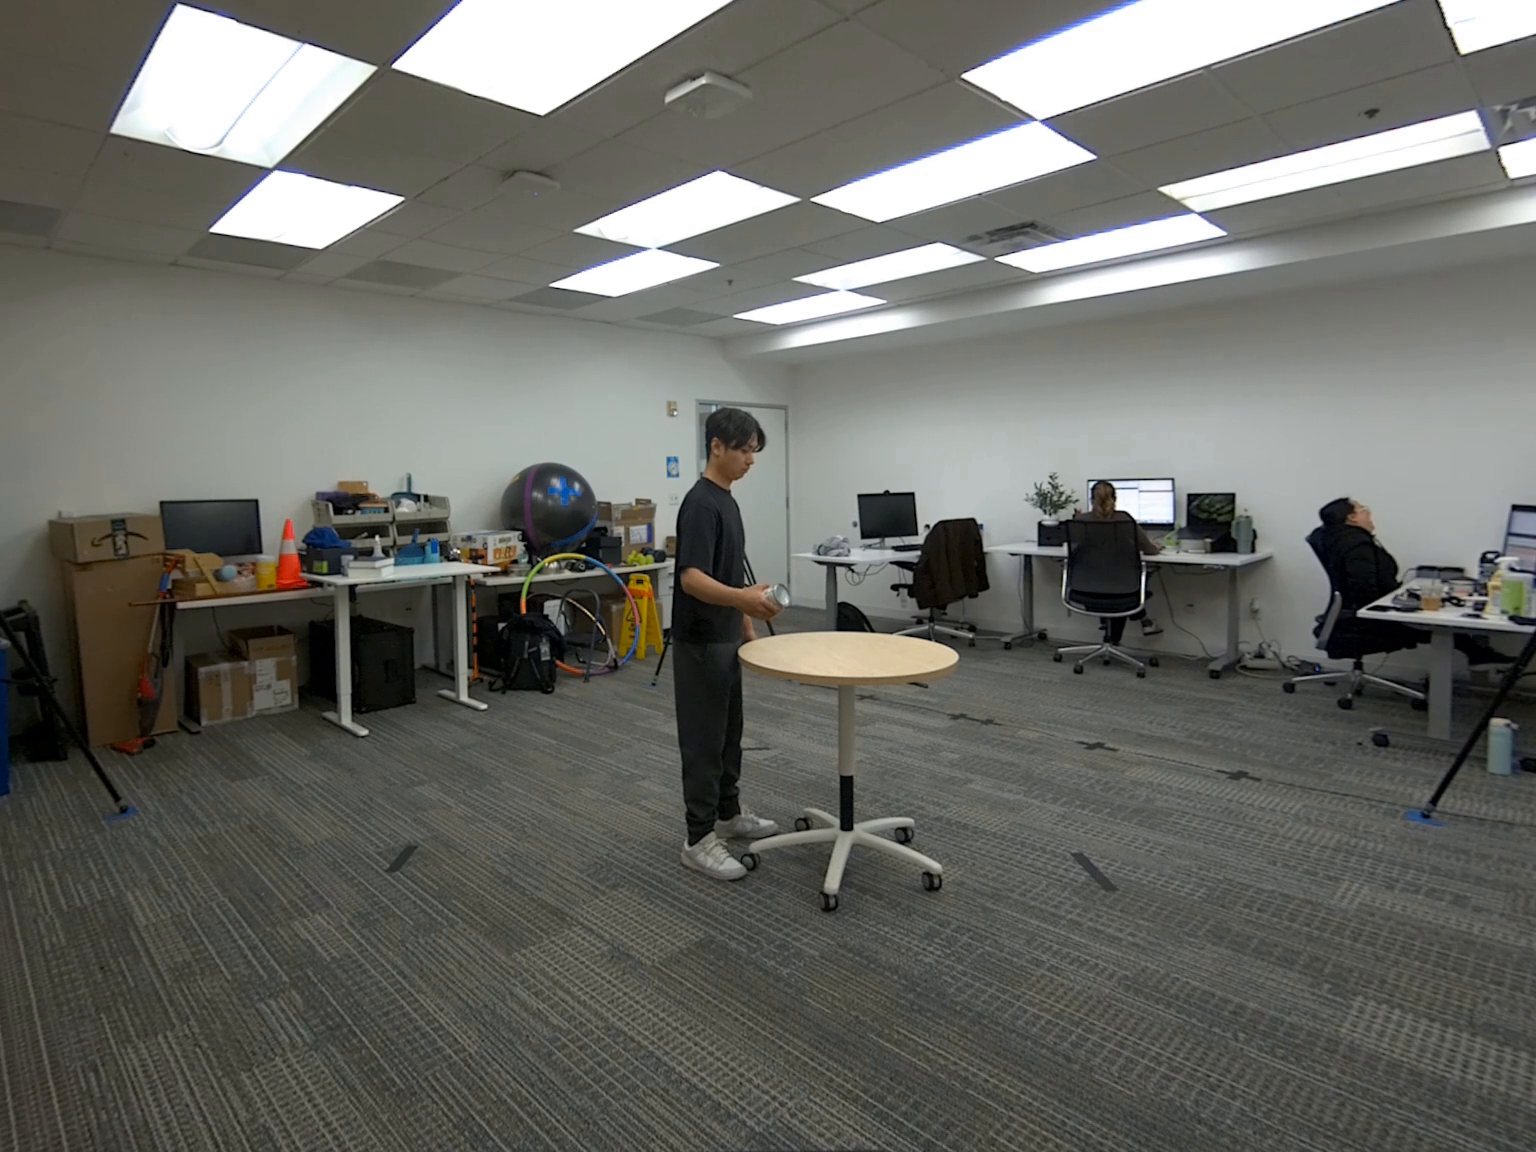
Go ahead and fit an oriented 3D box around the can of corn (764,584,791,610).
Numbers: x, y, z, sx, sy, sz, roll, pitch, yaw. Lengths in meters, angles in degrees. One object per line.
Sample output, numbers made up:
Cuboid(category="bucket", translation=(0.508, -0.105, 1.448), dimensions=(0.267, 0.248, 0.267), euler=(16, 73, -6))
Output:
Cuboid(category="can of corn", translation=(0.008, 0.088, 2.664), dimensions=(0.112, 0.074, 0.073), euler=(-11, 2, 18))
